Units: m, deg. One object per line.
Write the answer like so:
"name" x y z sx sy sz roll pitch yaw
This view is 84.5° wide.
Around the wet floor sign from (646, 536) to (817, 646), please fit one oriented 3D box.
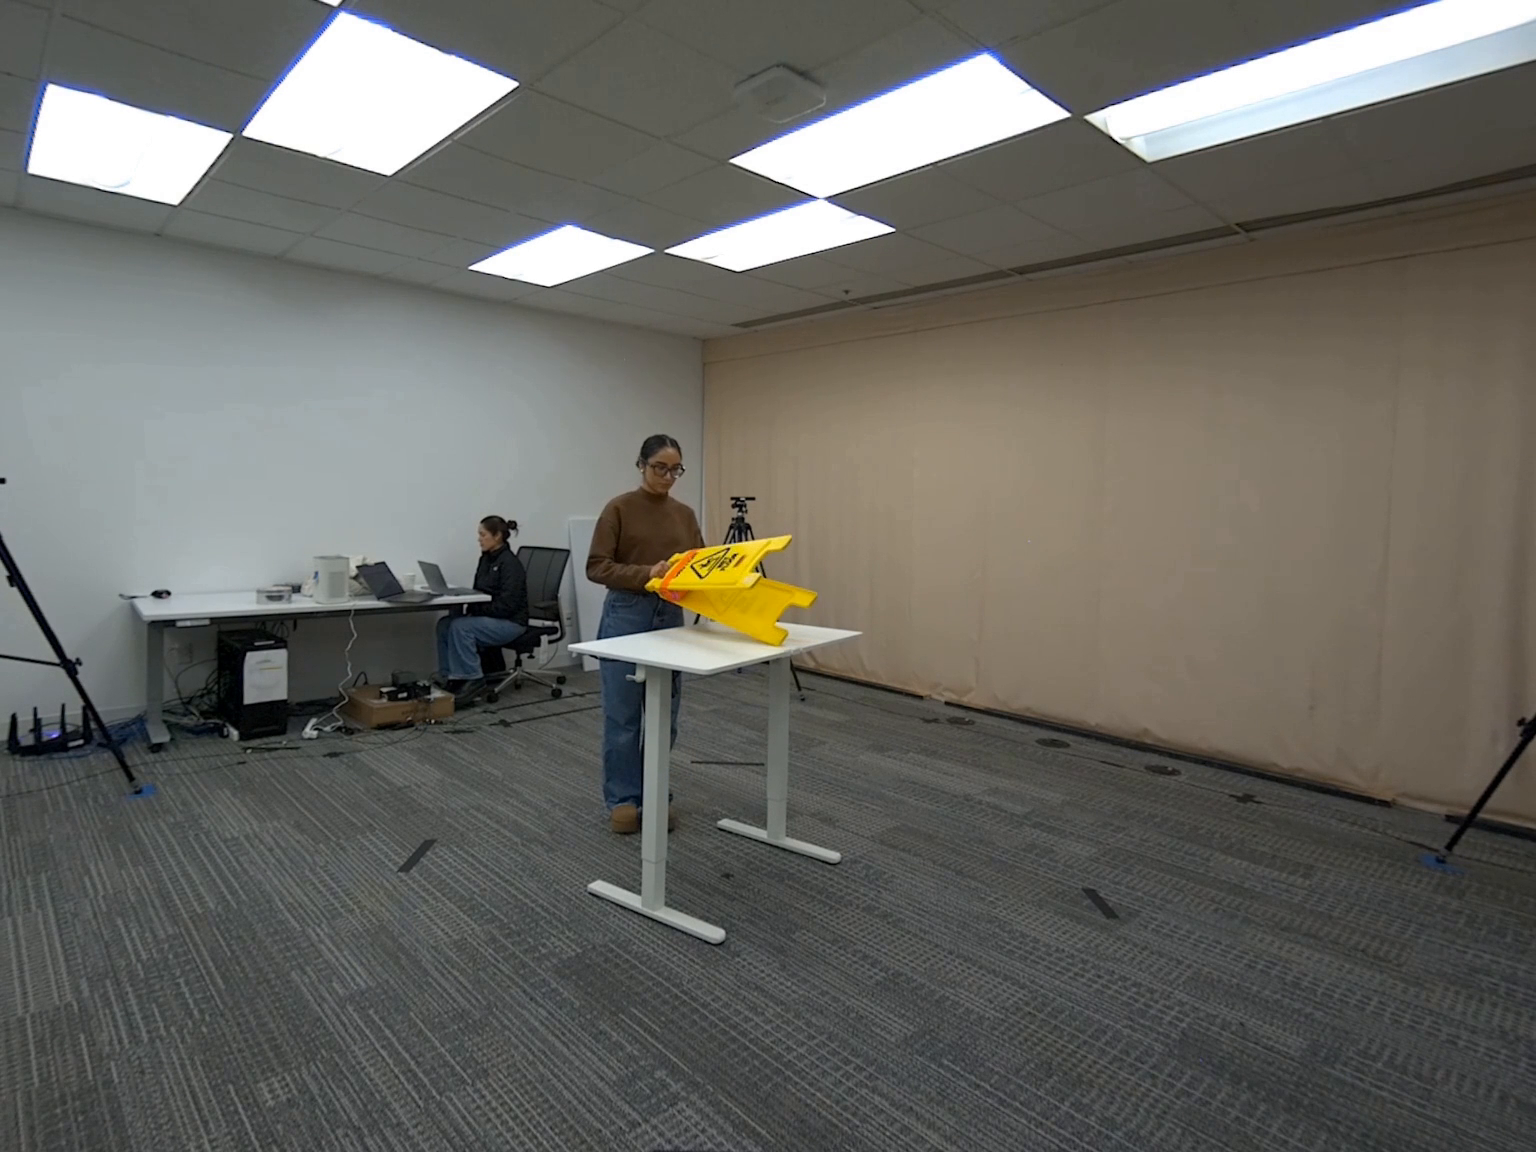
"wet floor sign" -0.194 0.020 3.136 0.663 0.282 0.282 9 45 40
